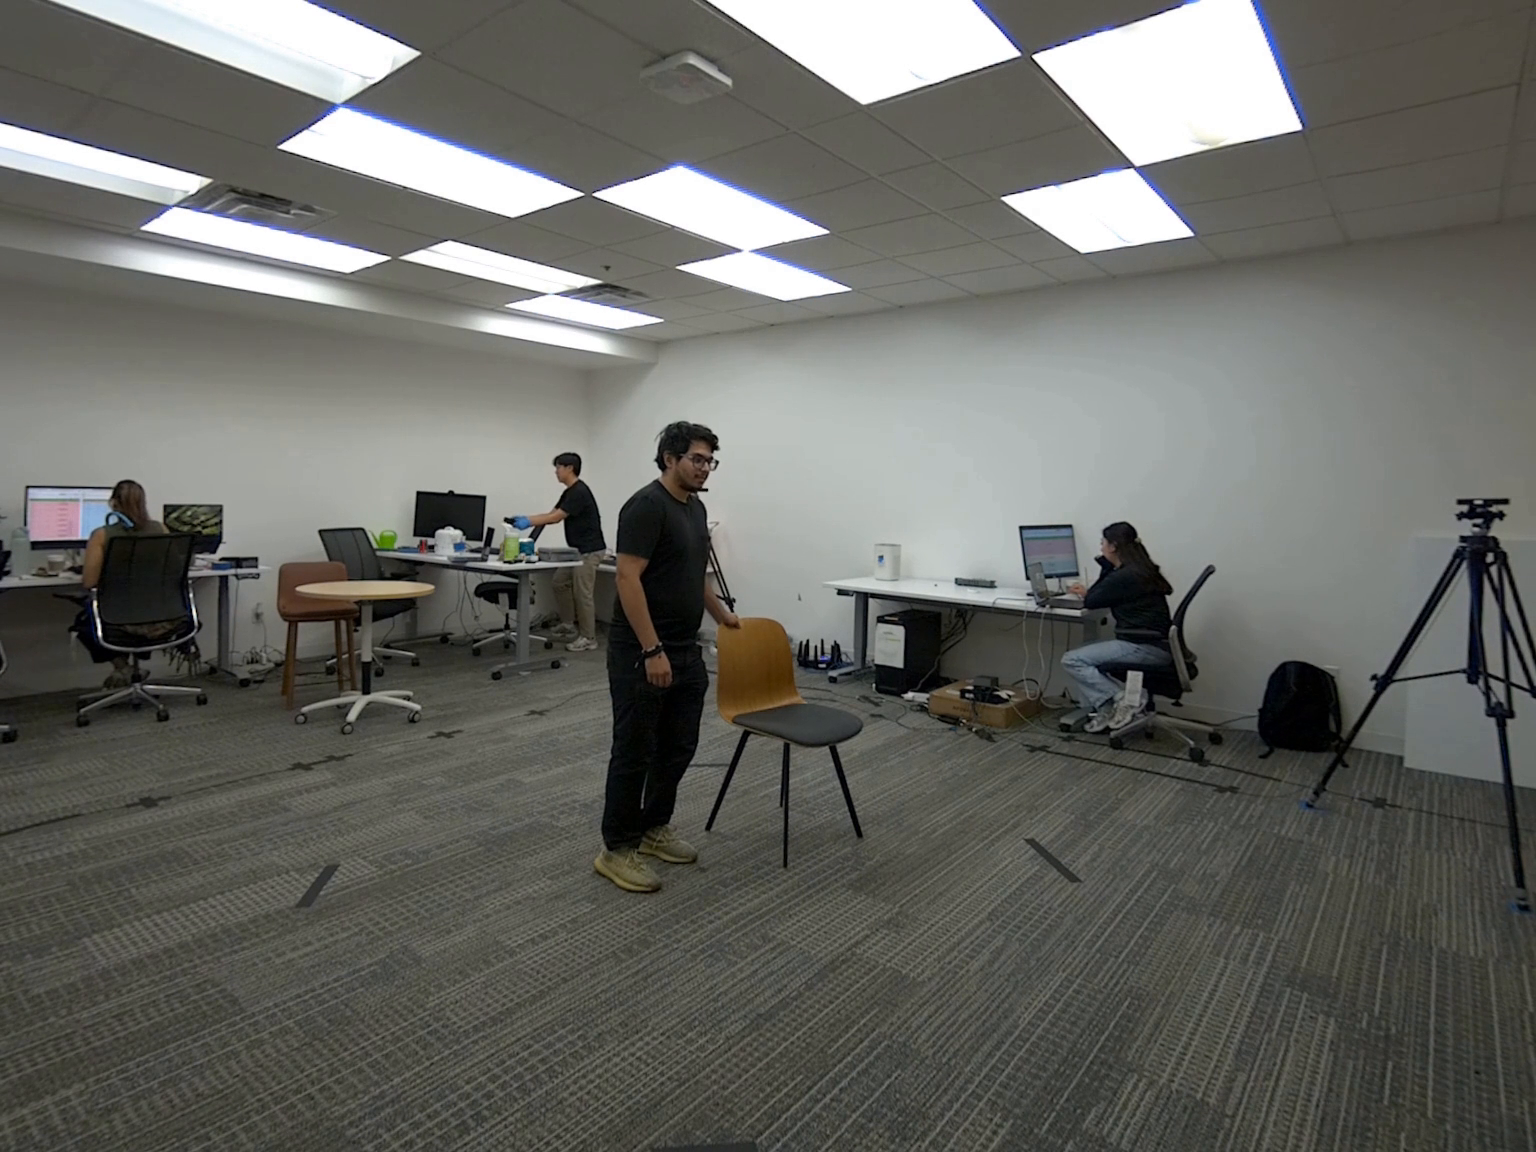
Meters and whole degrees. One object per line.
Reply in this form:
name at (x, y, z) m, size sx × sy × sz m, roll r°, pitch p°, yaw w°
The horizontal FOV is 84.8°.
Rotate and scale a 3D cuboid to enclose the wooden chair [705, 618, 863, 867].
wooden chair at (0.072, 0.619, 3.417) m, size 0.463 × 0.877 × 0.539 m, roll -2°, pitch 0°, yaw -44°
